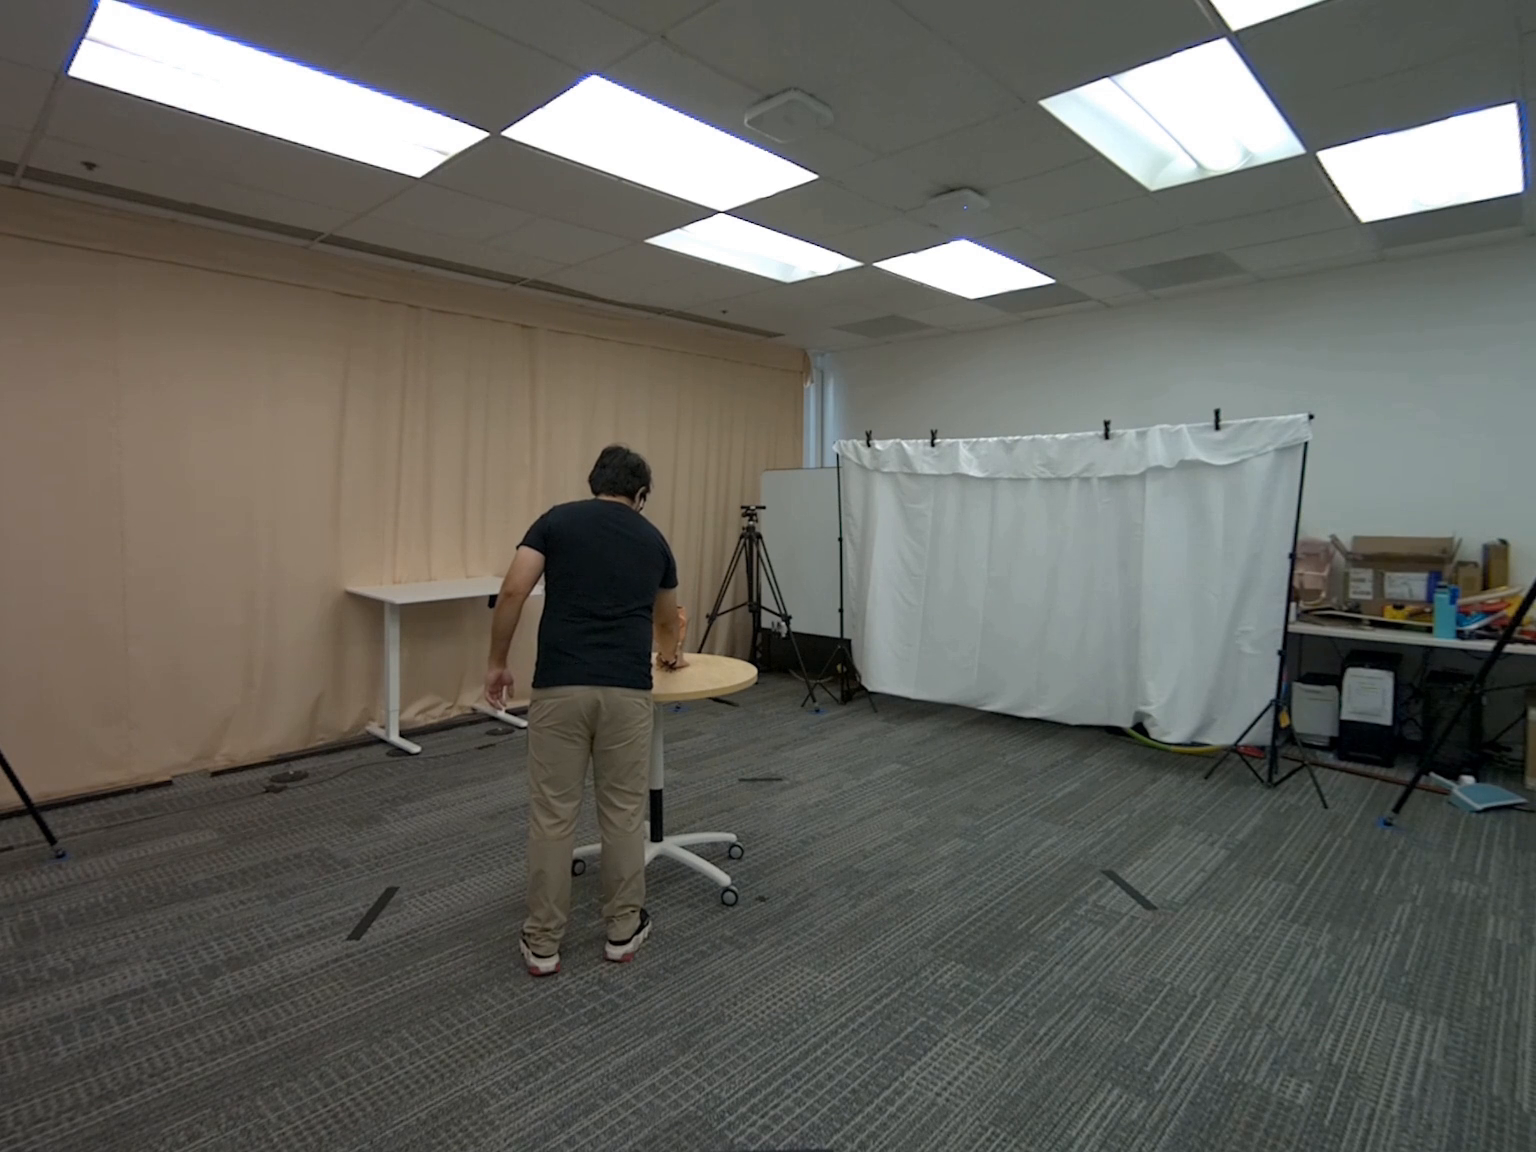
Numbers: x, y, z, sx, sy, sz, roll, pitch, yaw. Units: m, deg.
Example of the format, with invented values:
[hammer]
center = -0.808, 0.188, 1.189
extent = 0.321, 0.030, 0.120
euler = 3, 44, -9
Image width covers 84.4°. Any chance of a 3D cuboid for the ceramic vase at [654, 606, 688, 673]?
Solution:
[ceramic vase]
center = -0.386, 0.234, 3.244
extent = 0.134, 0.219, 0.160
euler = -1, 3, -6
